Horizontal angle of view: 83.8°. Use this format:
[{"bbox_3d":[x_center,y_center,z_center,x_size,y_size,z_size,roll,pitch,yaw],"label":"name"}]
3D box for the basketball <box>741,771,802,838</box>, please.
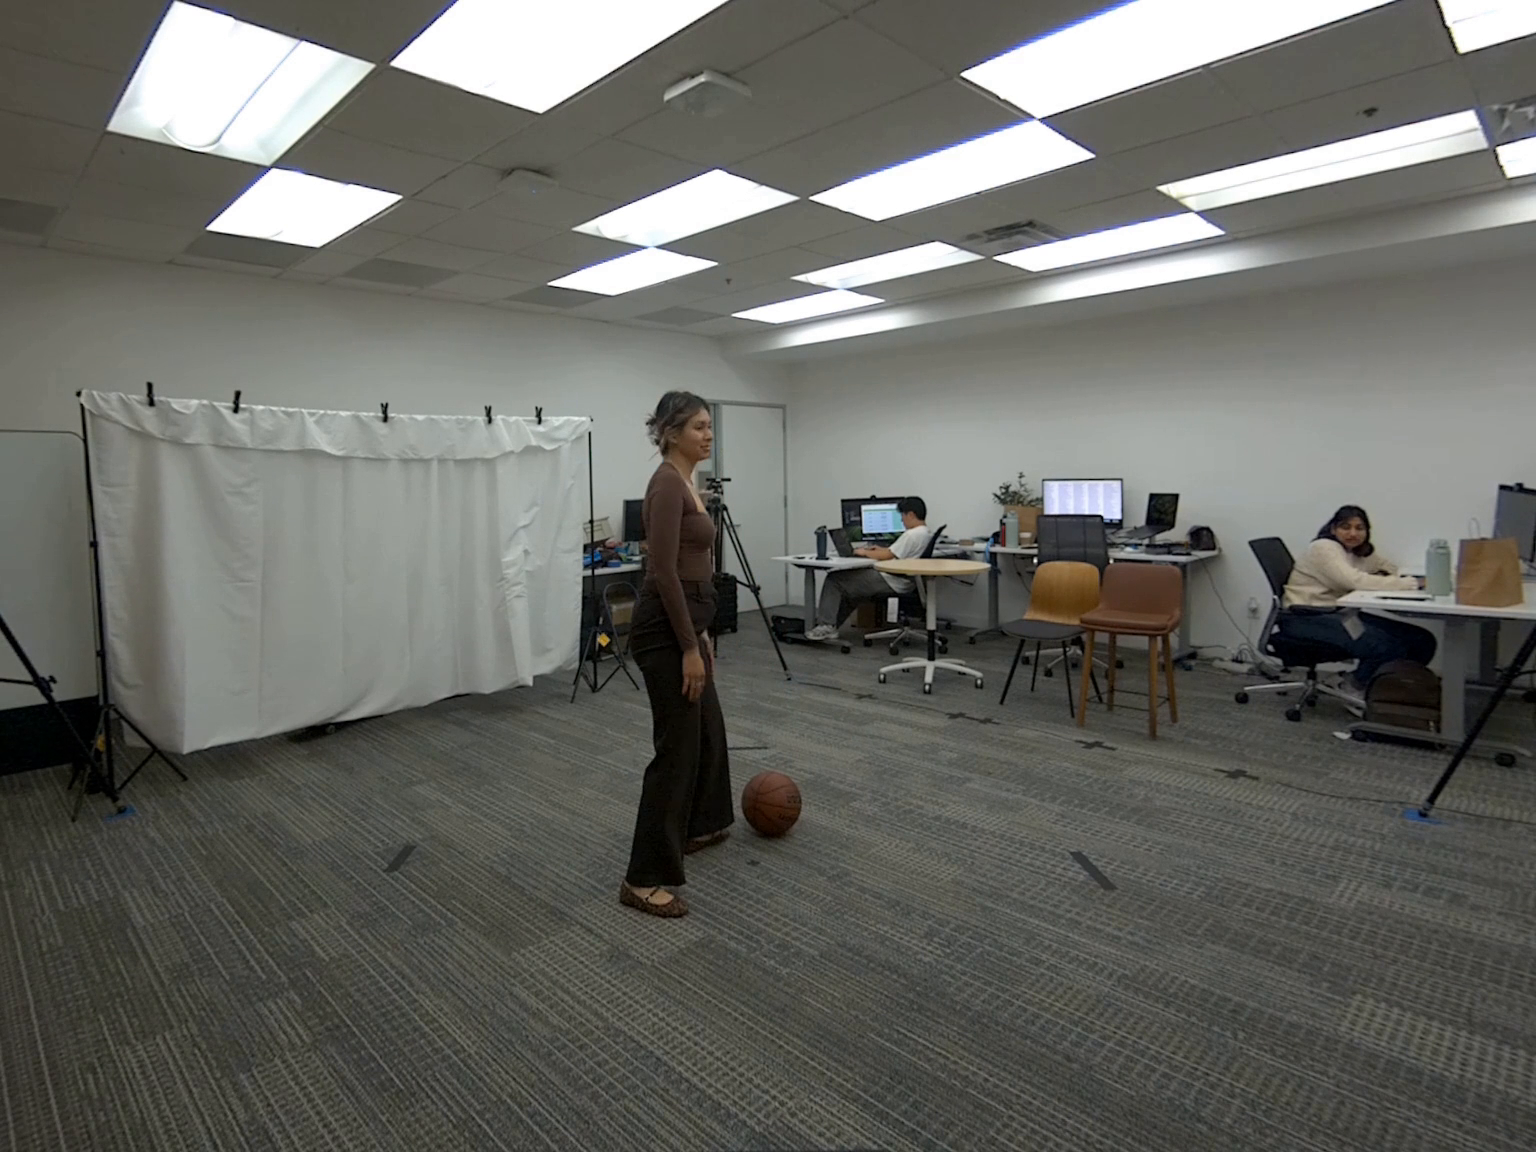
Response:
[{"bbox_3d":[0.015,0.889,3.368,0.236,0.235,0.237,-1,5,-2],"label":"basketball"}]
